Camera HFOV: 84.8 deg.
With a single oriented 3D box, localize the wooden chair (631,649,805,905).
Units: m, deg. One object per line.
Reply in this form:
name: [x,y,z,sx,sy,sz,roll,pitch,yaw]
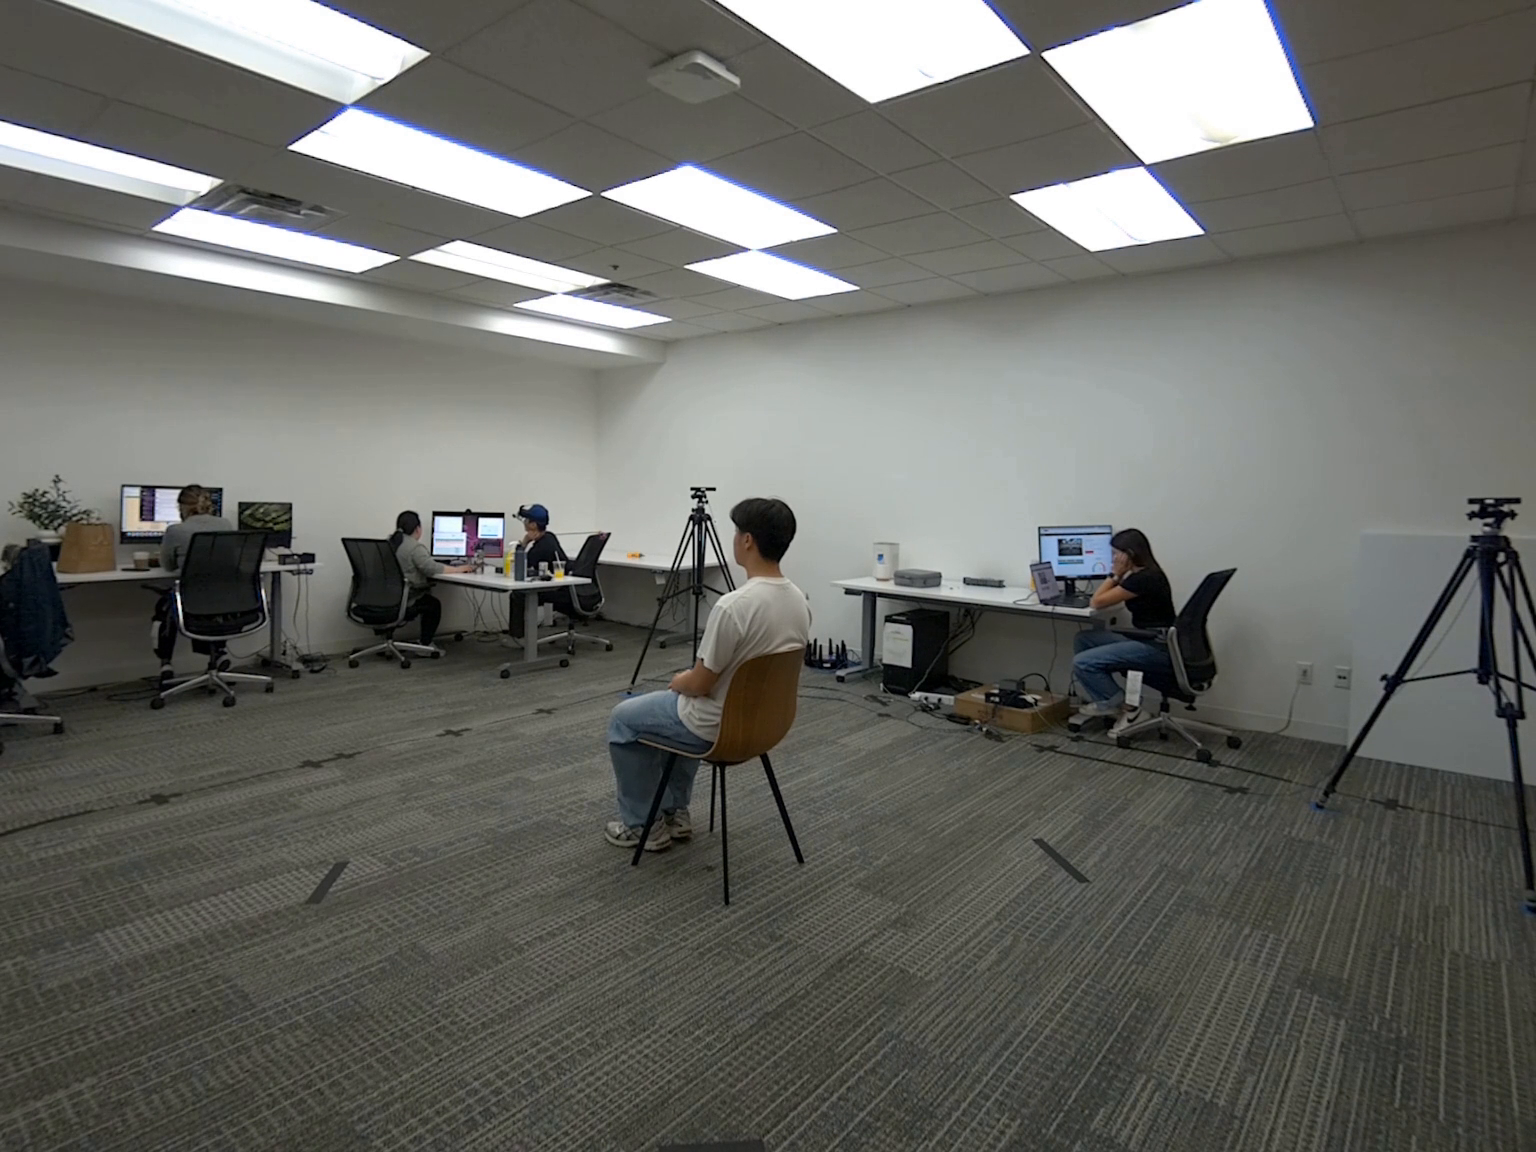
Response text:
wooden chair: [-0.181,0.639,3.119,0.542,0.873,0.463,10,7,38]
